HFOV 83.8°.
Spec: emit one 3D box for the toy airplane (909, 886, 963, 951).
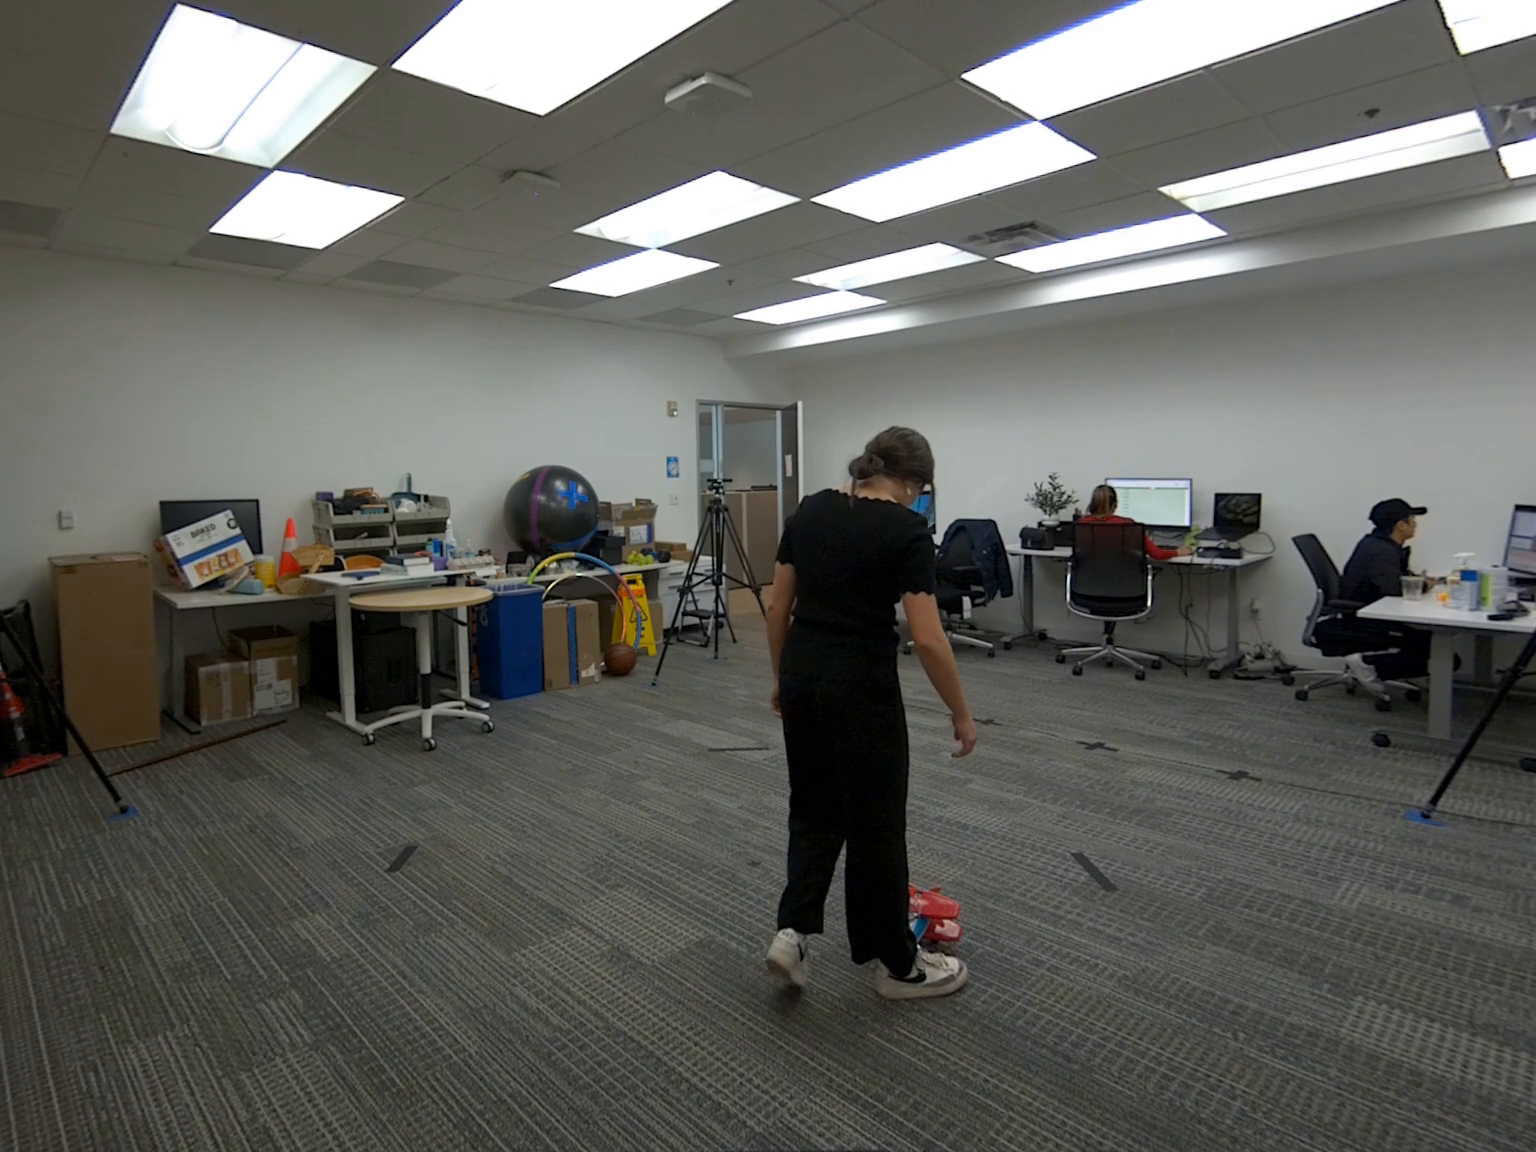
[{"bbox_3d":[0.451,1.033,2.507,0.251,0.156,0.260,-1,4,-1],"label":"toy airplane"}]
